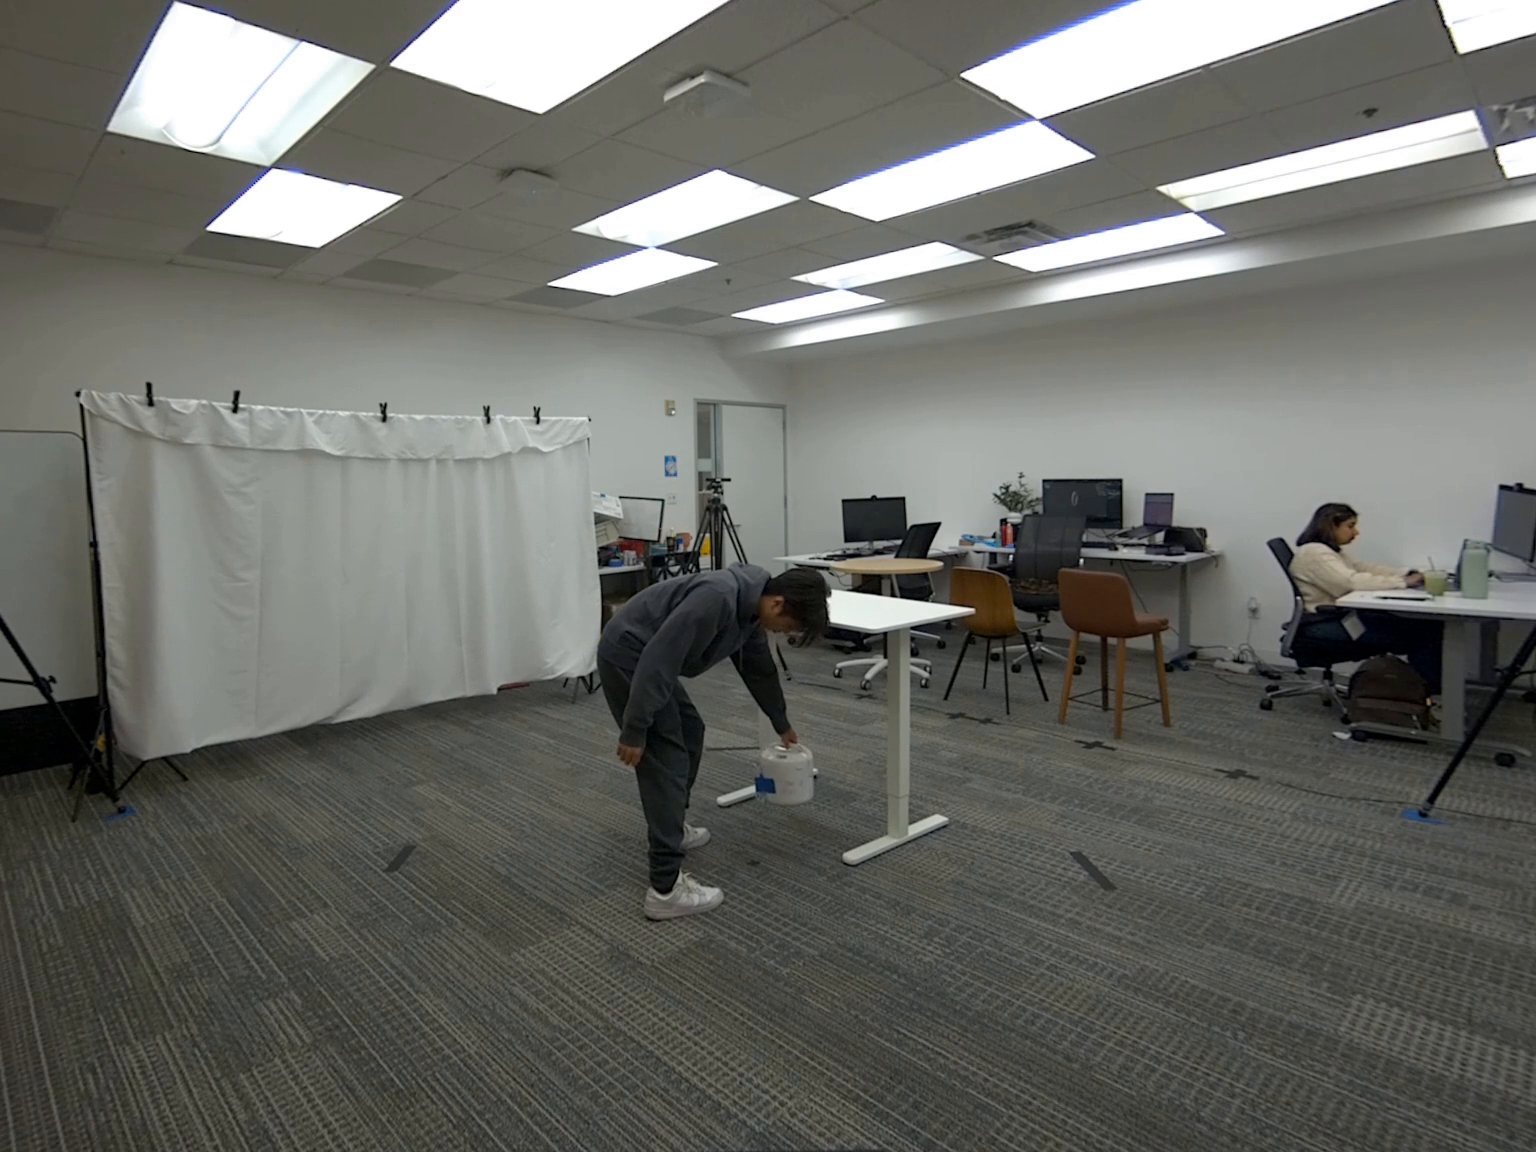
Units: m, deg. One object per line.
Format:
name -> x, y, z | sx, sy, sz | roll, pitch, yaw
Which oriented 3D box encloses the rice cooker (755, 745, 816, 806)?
rice cooker -> 0.076, 0.770, 3.368 | 0.226, 0.232, 0.213 | 0, 6, 28
